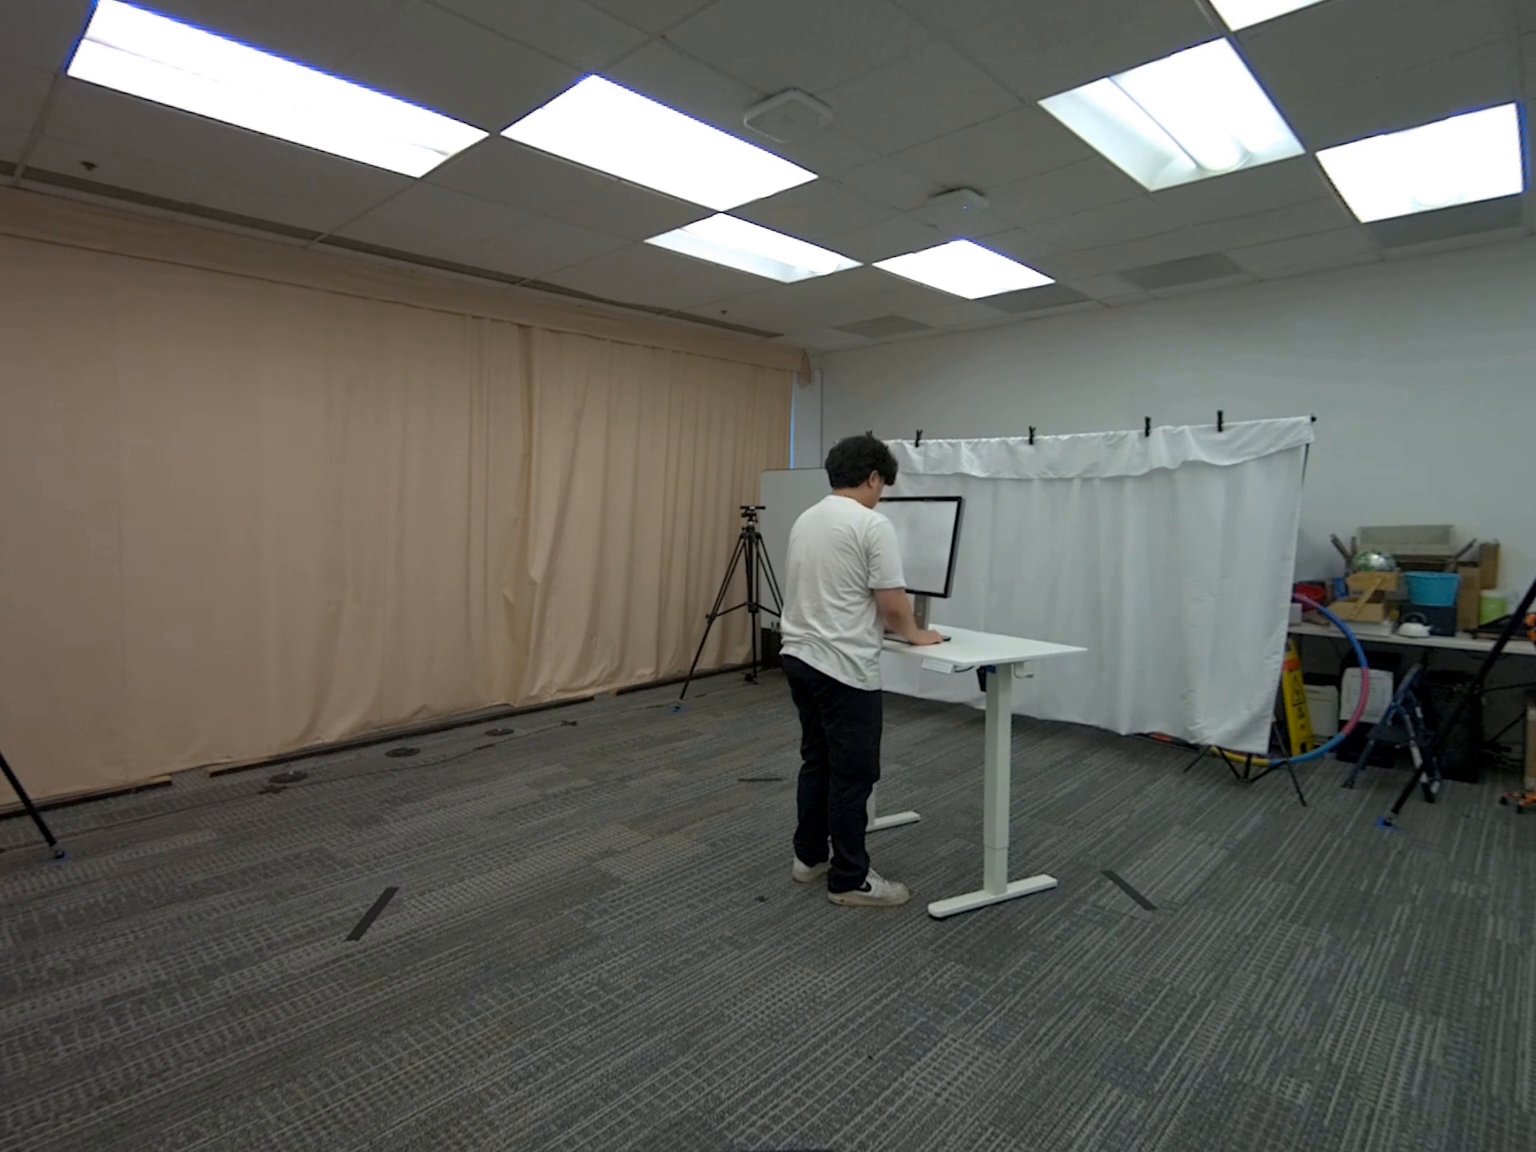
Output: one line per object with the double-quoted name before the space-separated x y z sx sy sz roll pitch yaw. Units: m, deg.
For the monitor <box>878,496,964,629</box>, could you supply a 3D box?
"monitor" 0.567 -0.027 3.219 0.204 0.554 0.582 4 0 -31
